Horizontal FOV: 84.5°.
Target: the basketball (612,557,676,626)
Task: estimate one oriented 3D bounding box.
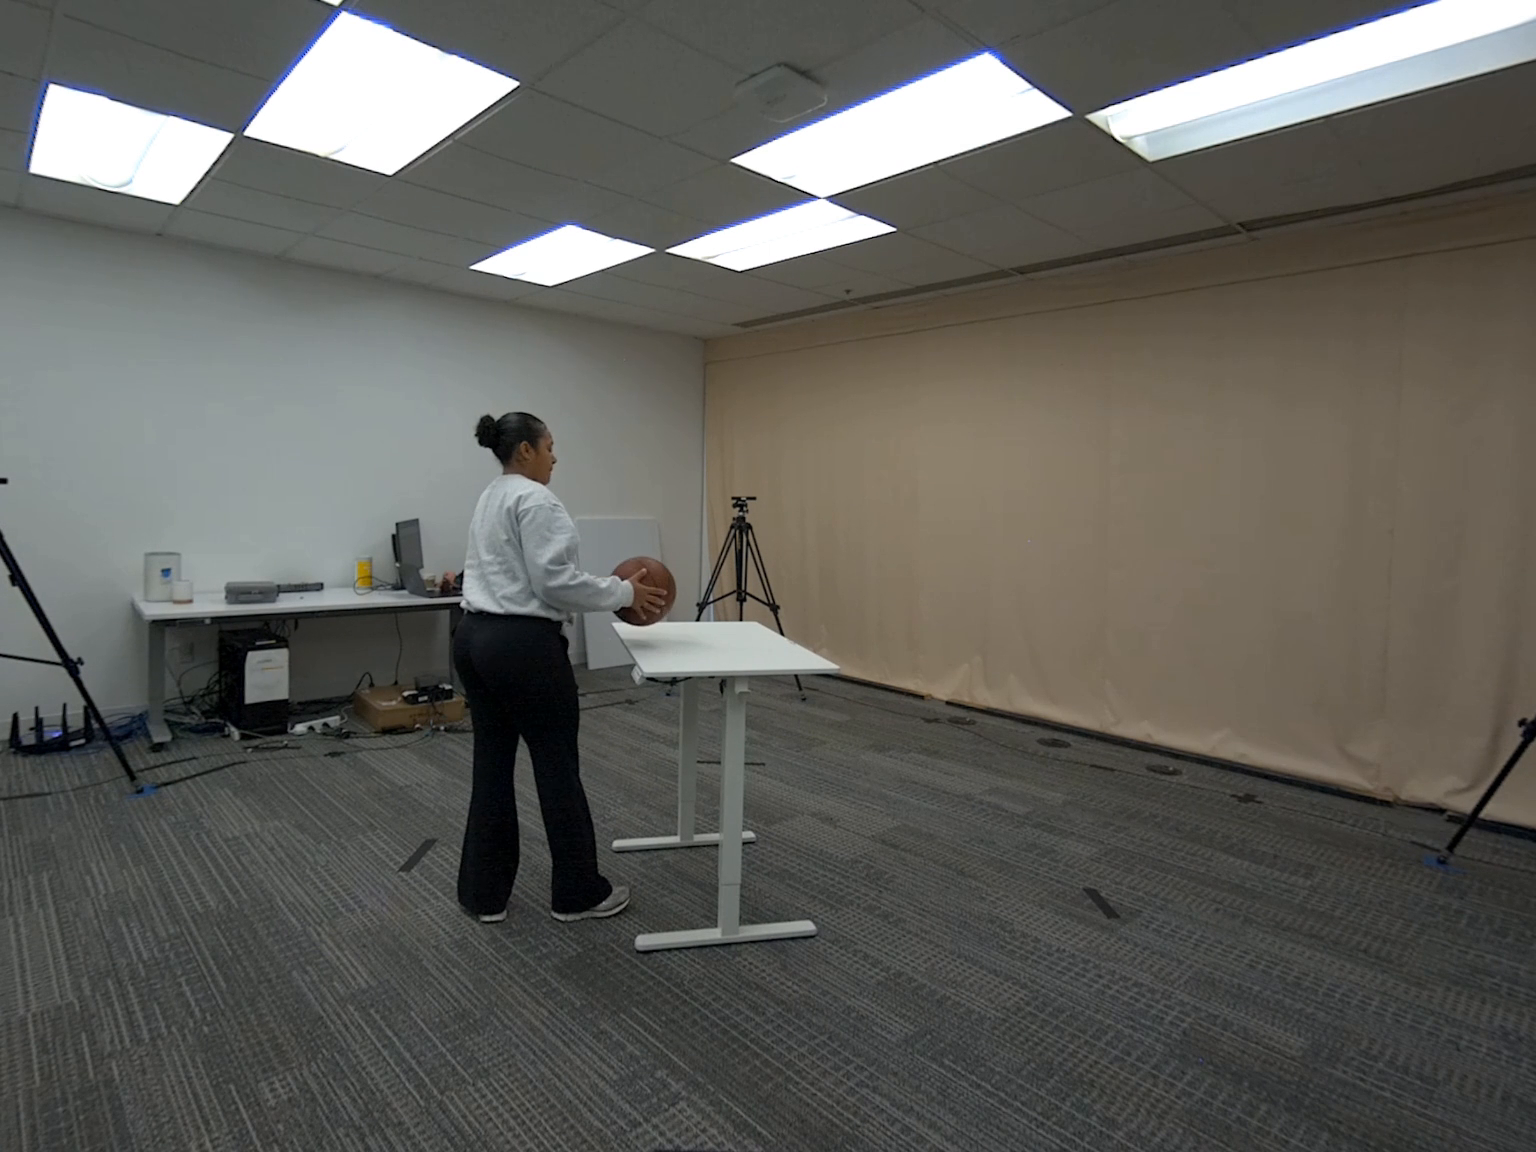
[{"bbox_3d":[-0.446,0.059,2.888,0.236,0.235,0.237,1,4,-1],"label":"basketball"}]
